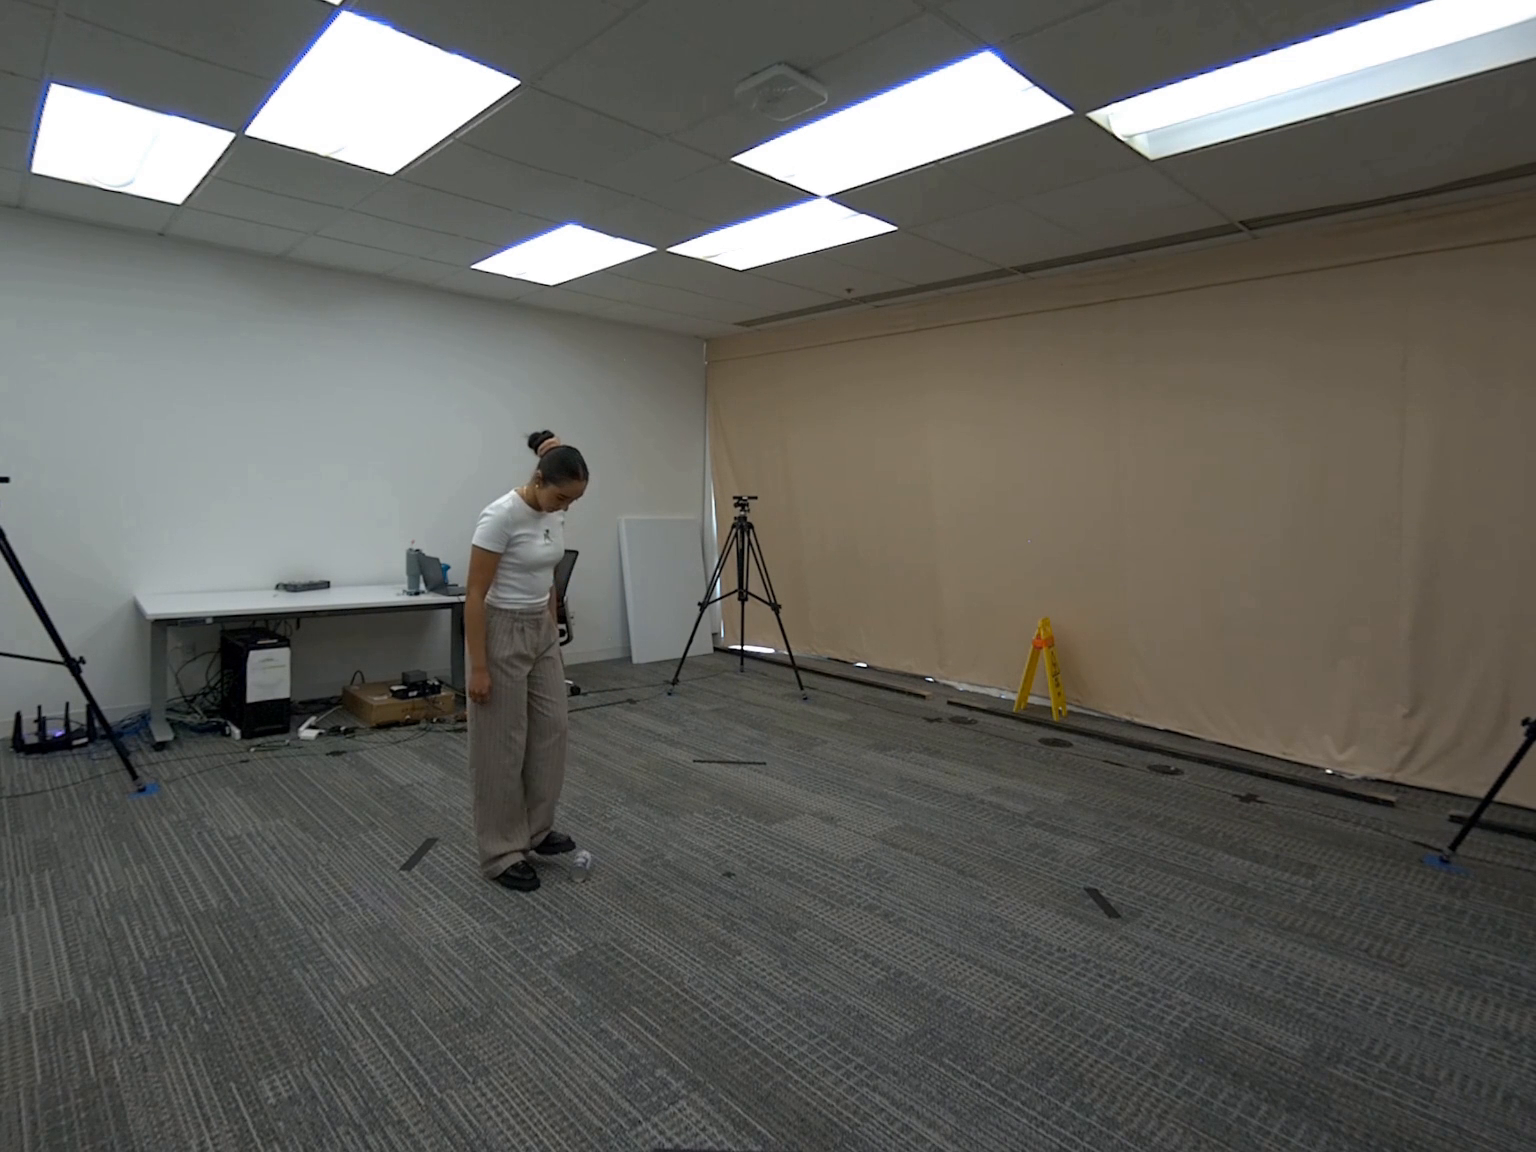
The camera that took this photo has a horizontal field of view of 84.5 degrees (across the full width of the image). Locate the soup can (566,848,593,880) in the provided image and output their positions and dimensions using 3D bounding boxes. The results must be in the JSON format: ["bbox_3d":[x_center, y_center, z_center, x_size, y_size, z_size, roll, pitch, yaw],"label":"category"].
[{"bbox_3d":[-0.686,1.057,3.062,0.067,0.067,0.122,1,5,-1],"label":"soup can"}]
